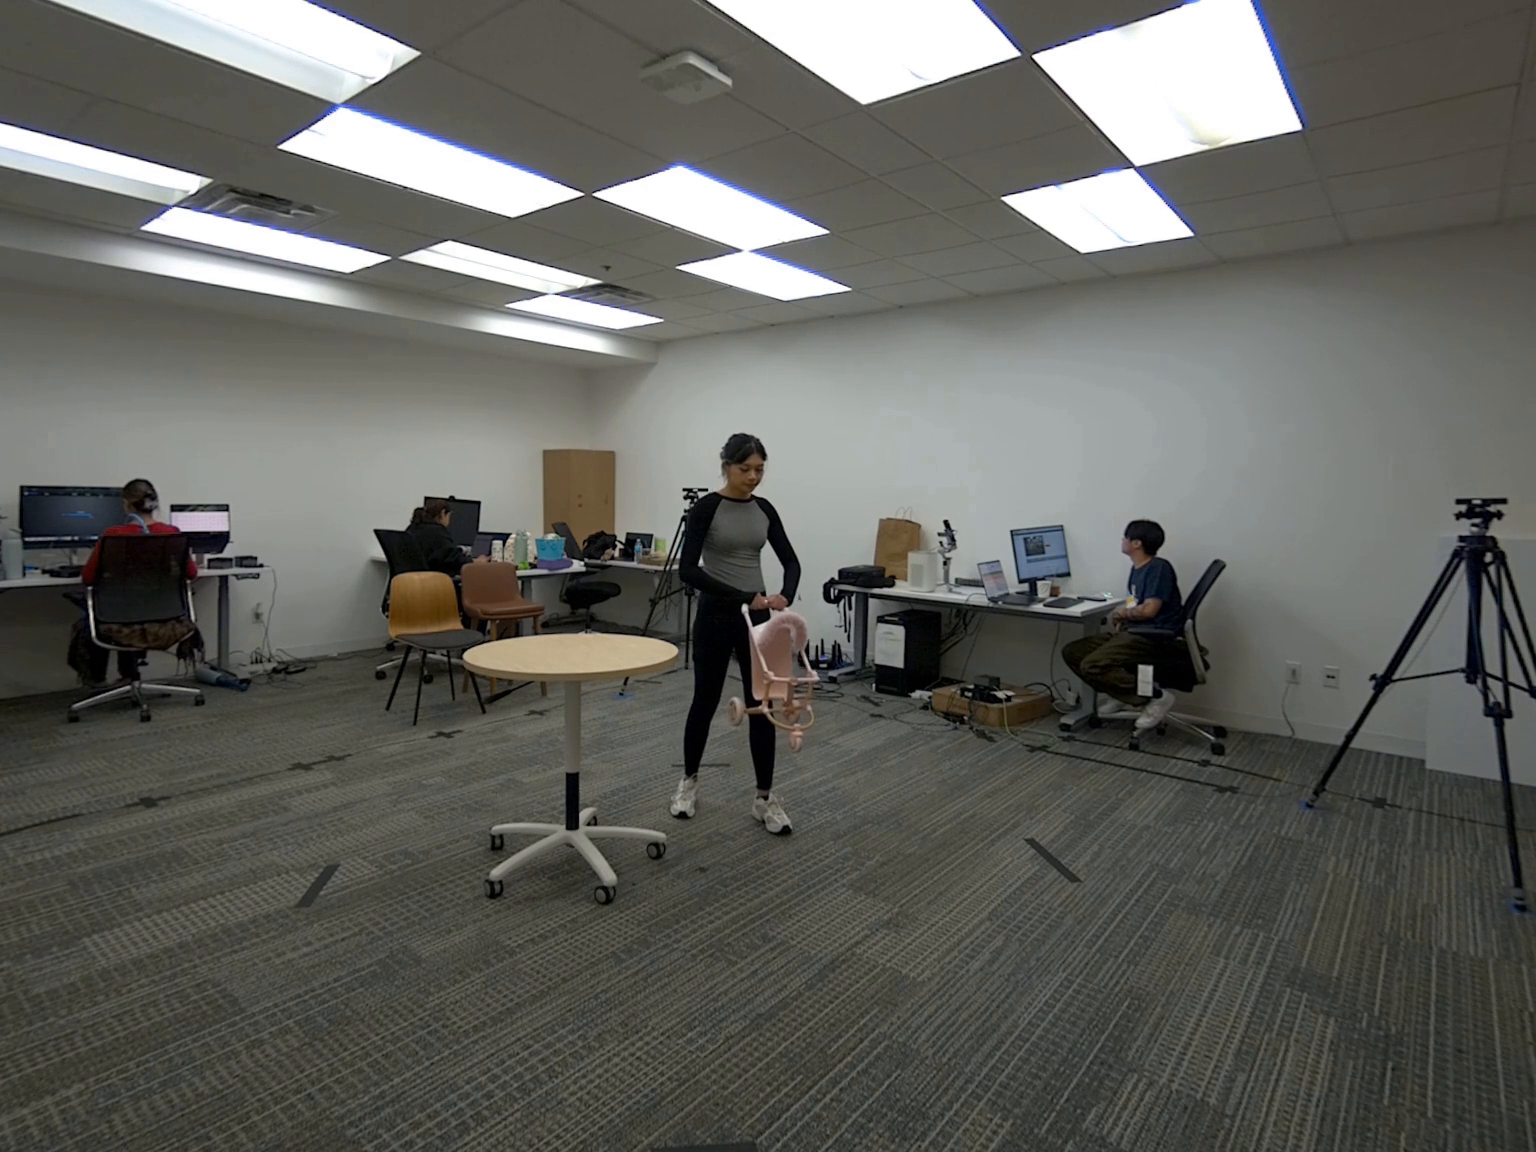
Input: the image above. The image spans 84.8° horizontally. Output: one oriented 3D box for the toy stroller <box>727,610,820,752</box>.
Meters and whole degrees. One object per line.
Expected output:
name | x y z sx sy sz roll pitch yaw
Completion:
toy stroller | 0.039 0.362 3.182 0.275 0.536 0.349 3 -3 -24
